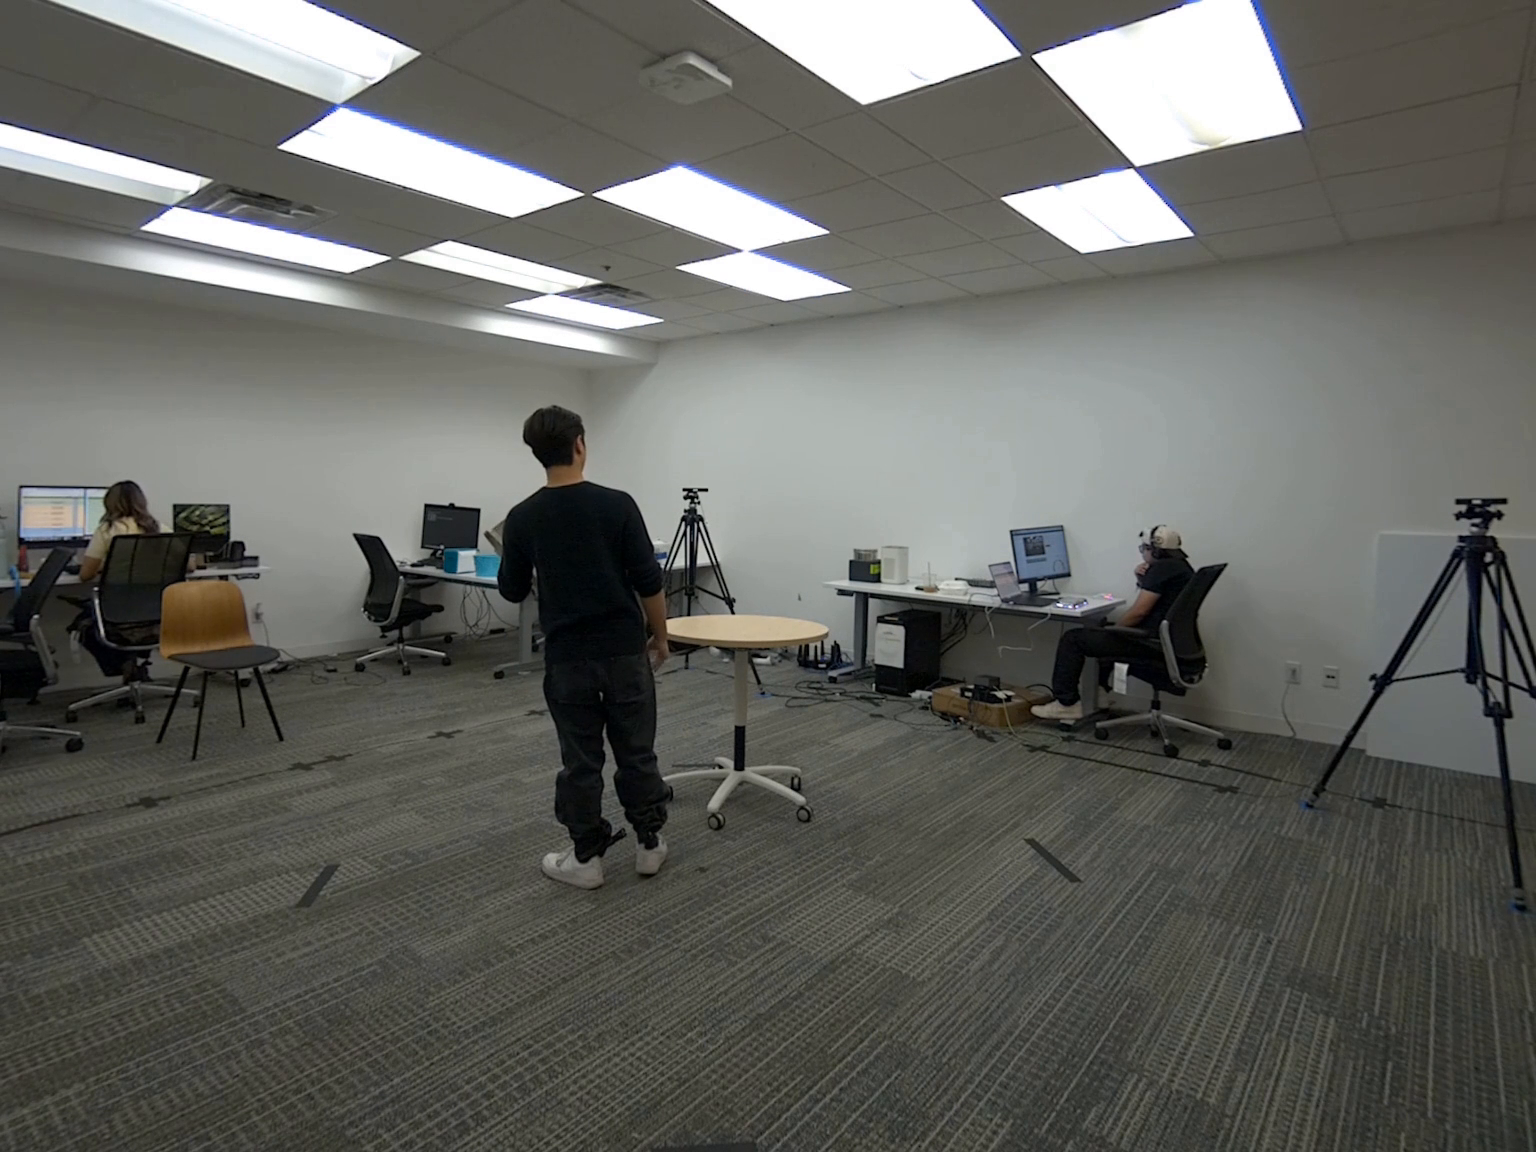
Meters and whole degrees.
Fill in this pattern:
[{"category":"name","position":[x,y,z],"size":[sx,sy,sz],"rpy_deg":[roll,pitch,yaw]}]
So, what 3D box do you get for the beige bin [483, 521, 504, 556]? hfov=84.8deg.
[{"category":"beige bin","position":[-0.882,-0.179,3.484],"size":[0.421,0.382,0.187],"rpy_deg":[-45,-8,-26]}]
